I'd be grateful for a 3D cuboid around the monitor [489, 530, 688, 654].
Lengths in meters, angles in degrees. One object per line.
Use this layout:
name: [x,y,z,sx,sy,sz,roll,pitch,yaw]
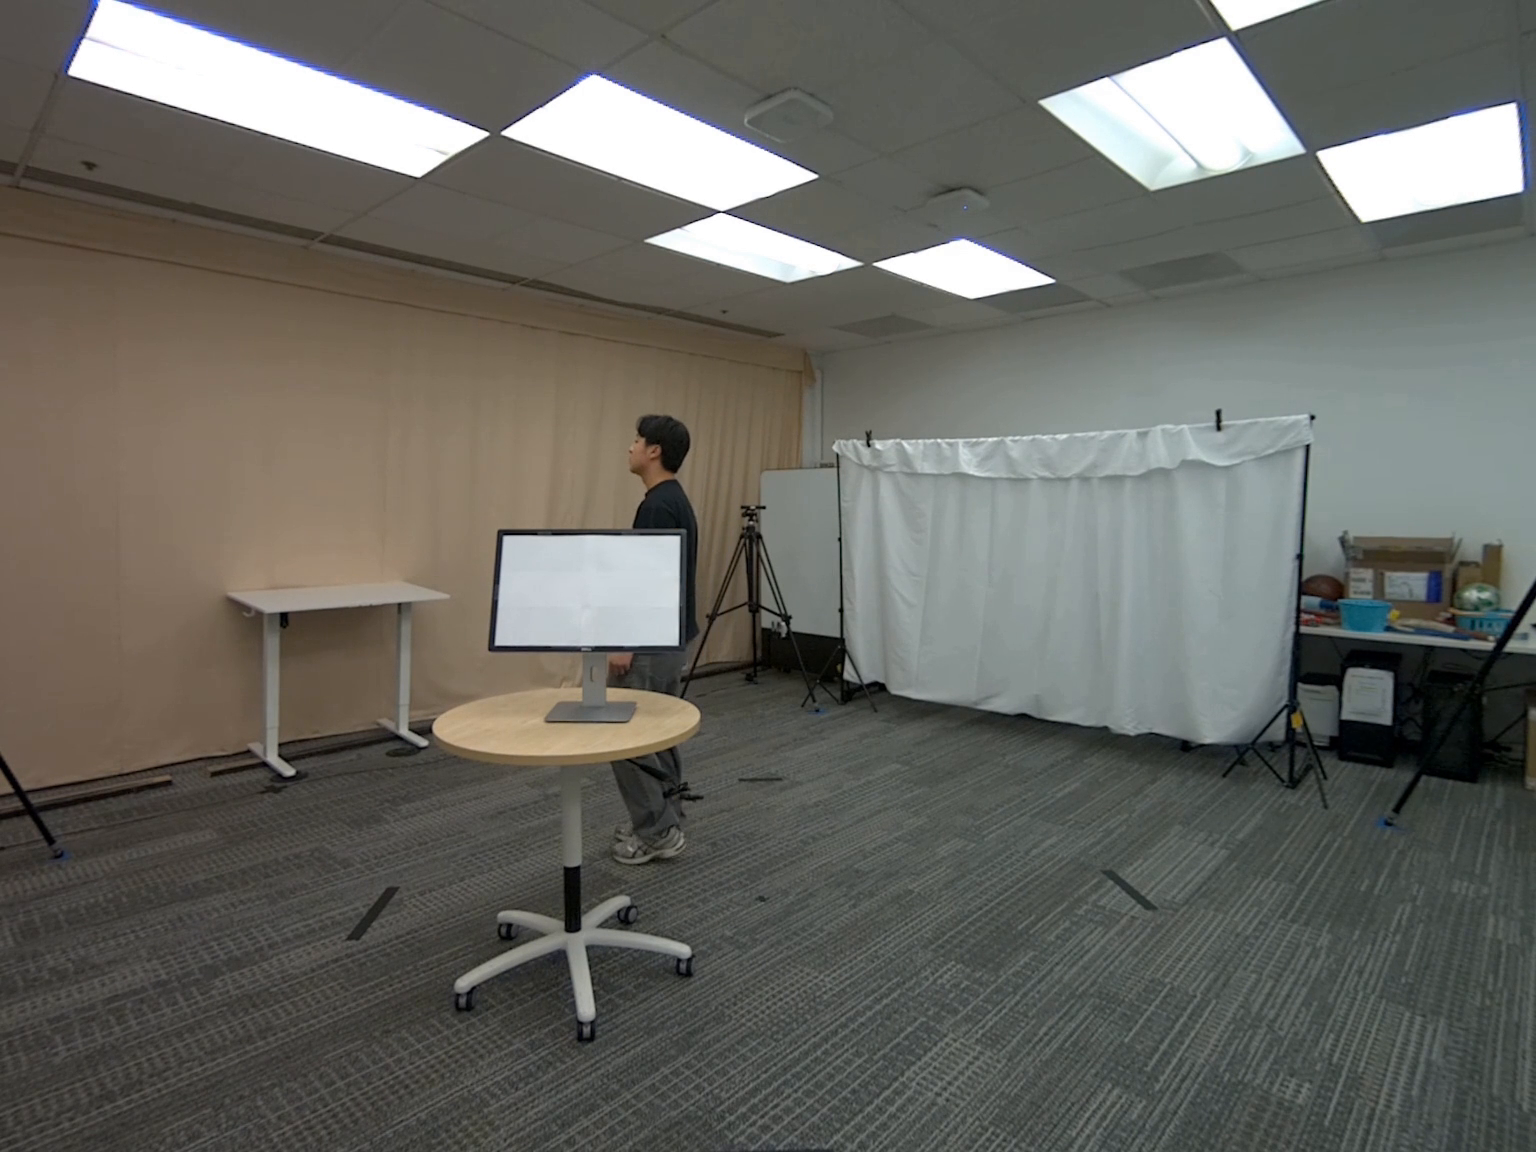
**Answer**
monitor: [-0.514,0.143,2.471,0.563,0.565,0.222,0,2,2]
